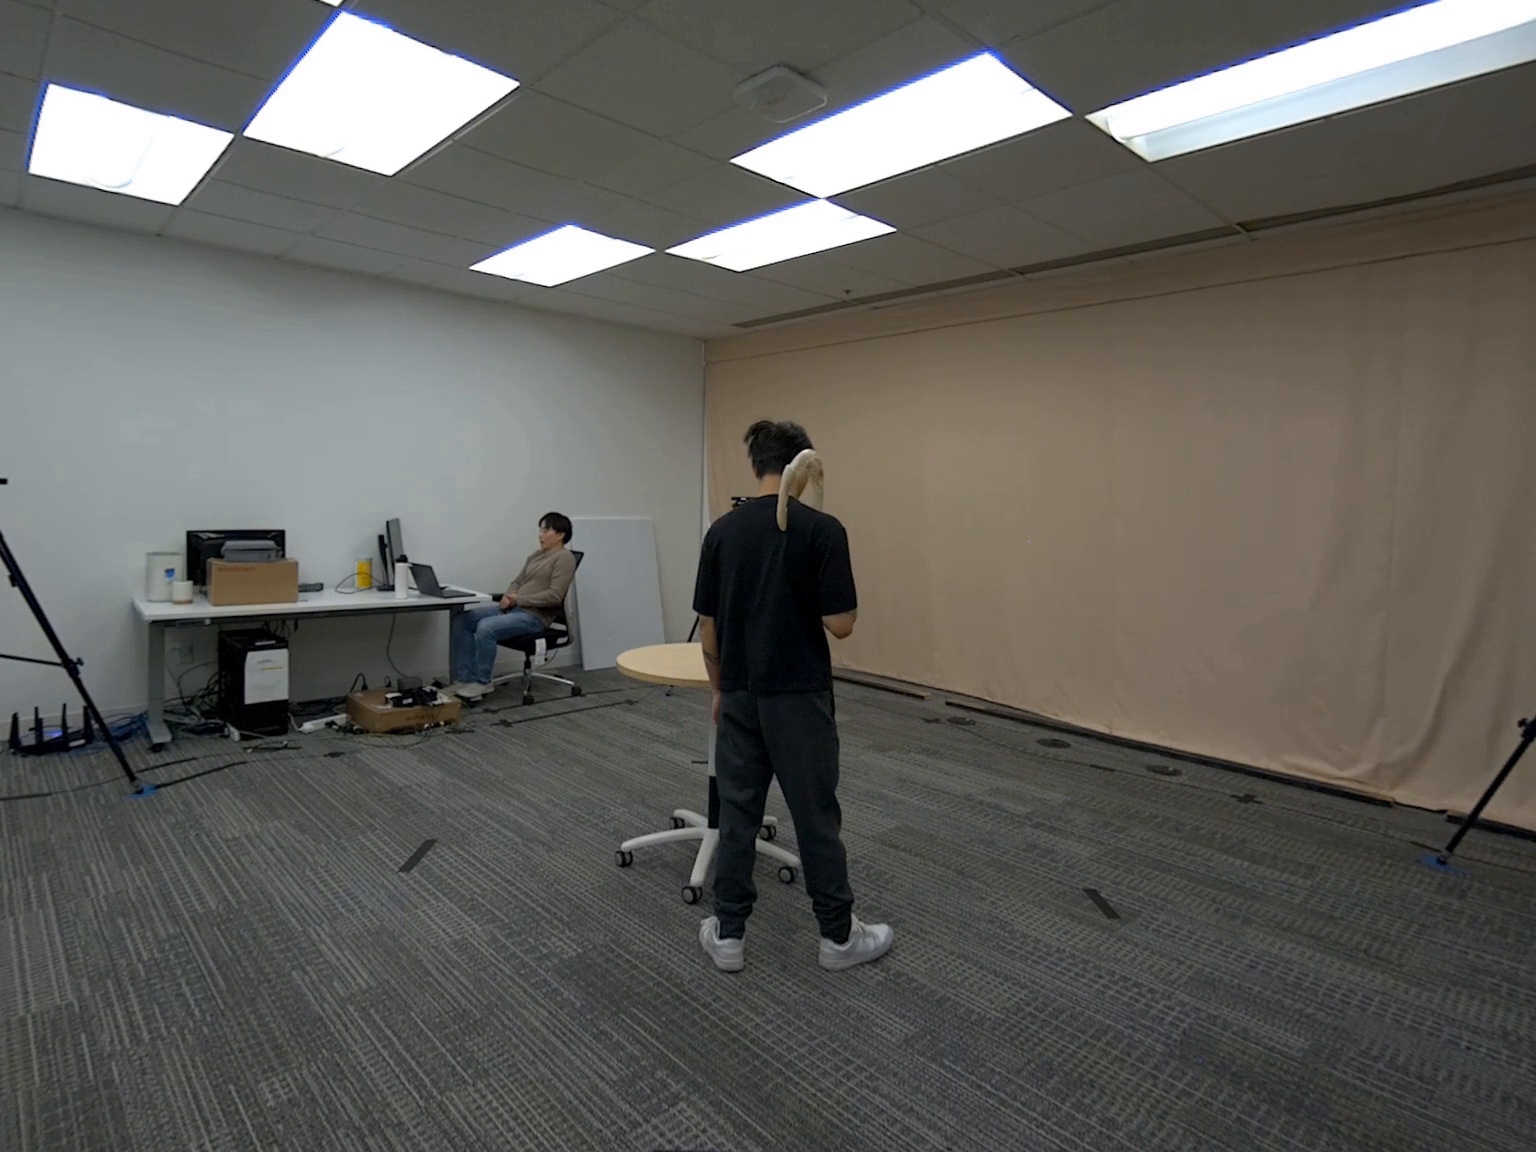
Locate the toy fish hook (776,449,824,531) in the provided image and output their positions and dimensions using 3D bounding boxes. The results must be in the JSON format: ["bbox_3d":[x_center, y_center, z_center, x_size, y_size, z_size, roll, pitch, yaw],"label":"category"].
[{"bbox_3d":[0.103,-0.142,2.495,0.049,0.494,0.224,17,46,33],"label":"toy fish hook"}]
